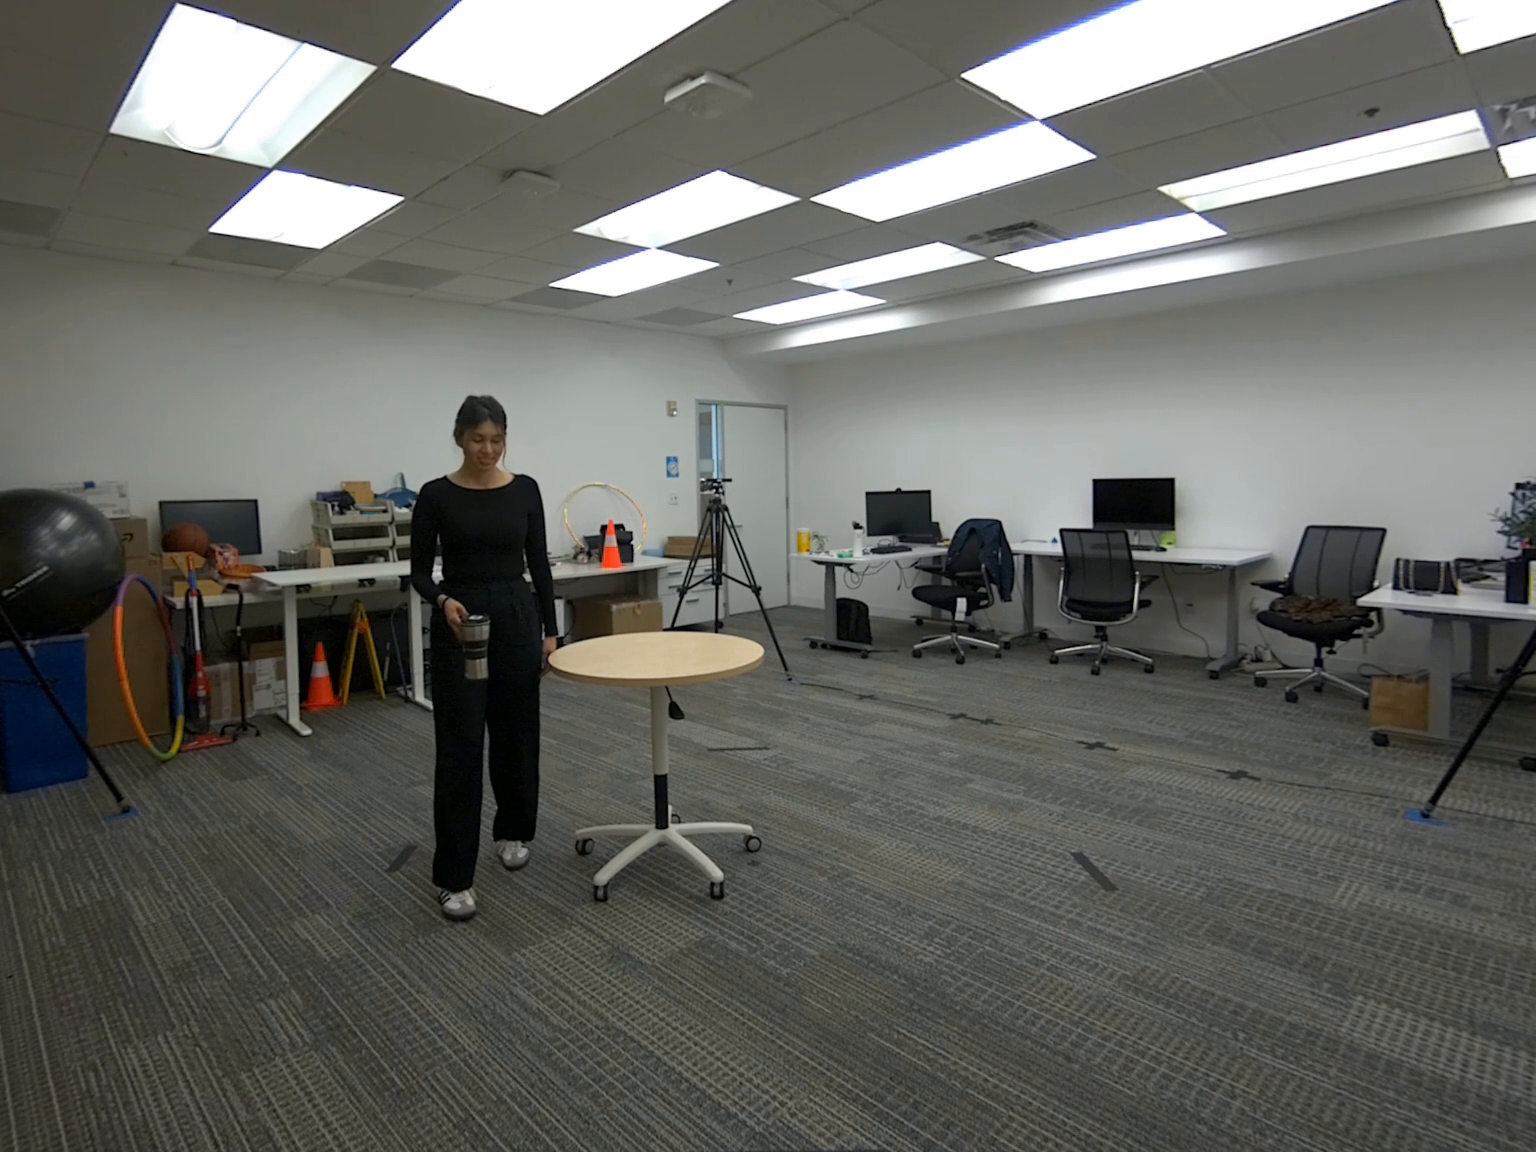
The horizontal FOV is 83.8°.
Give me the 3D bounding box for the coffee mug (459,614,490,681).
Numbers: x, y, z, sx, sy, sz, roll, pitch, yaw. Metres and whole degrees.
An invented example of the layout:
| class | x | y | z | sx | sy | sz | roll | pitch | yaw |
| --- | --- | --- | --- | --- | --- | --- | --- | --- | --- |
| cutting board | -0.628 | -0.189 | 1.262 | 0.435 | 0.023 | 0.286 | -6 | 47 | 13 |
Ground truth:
| class | x | y | z | sx | sy | sz | roll | pitch | yaw |
| --- | --- | --- | --- | --- | --- | --- | --- | --- | --- |
| coffee mug | -0.925 | 0.233 | 2.657 | 0.087 | 0.203 | 0.124 | 1 | 1 | -15 |
